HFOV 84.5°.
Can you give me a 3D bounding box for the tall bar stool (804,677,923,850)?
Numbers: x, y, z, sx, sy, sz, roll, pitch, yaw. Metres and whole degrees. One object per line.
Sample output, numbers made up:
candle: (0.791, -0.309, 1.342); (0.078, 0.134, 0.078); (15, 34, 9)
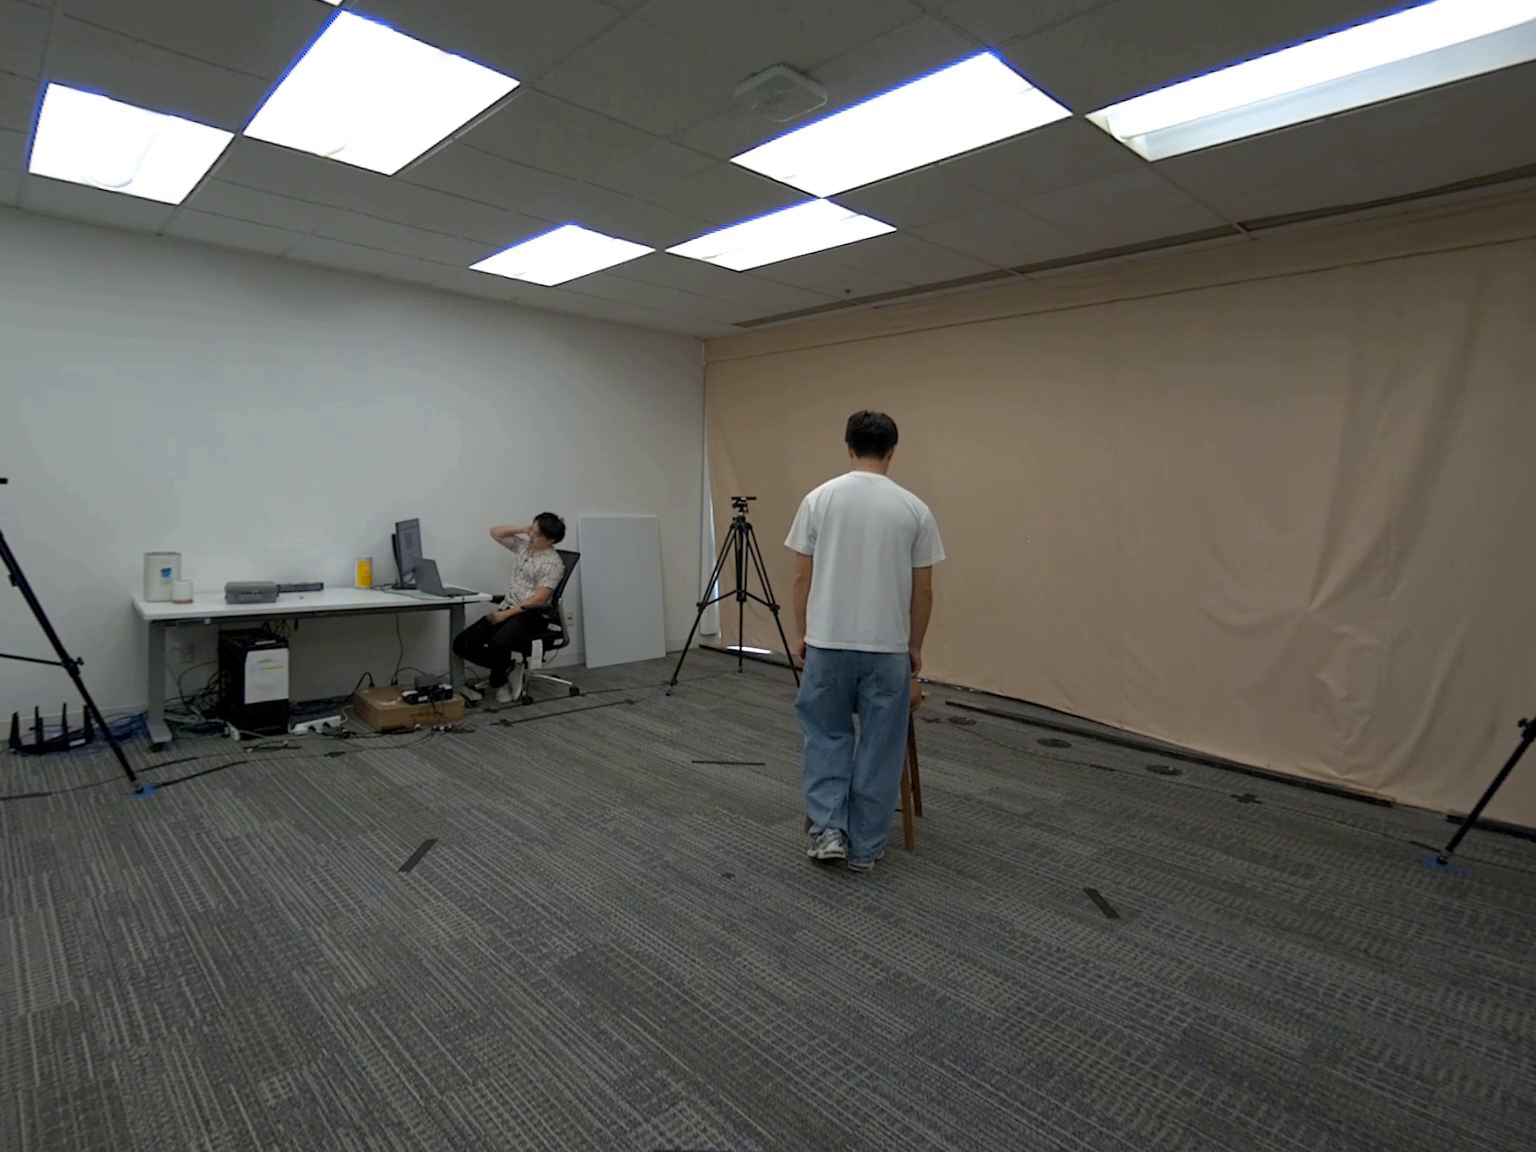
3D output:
tall bar stool: (0.424, 0.645, 3.622); (0.474, 0.889, 0.451); (1, 2, 17)
